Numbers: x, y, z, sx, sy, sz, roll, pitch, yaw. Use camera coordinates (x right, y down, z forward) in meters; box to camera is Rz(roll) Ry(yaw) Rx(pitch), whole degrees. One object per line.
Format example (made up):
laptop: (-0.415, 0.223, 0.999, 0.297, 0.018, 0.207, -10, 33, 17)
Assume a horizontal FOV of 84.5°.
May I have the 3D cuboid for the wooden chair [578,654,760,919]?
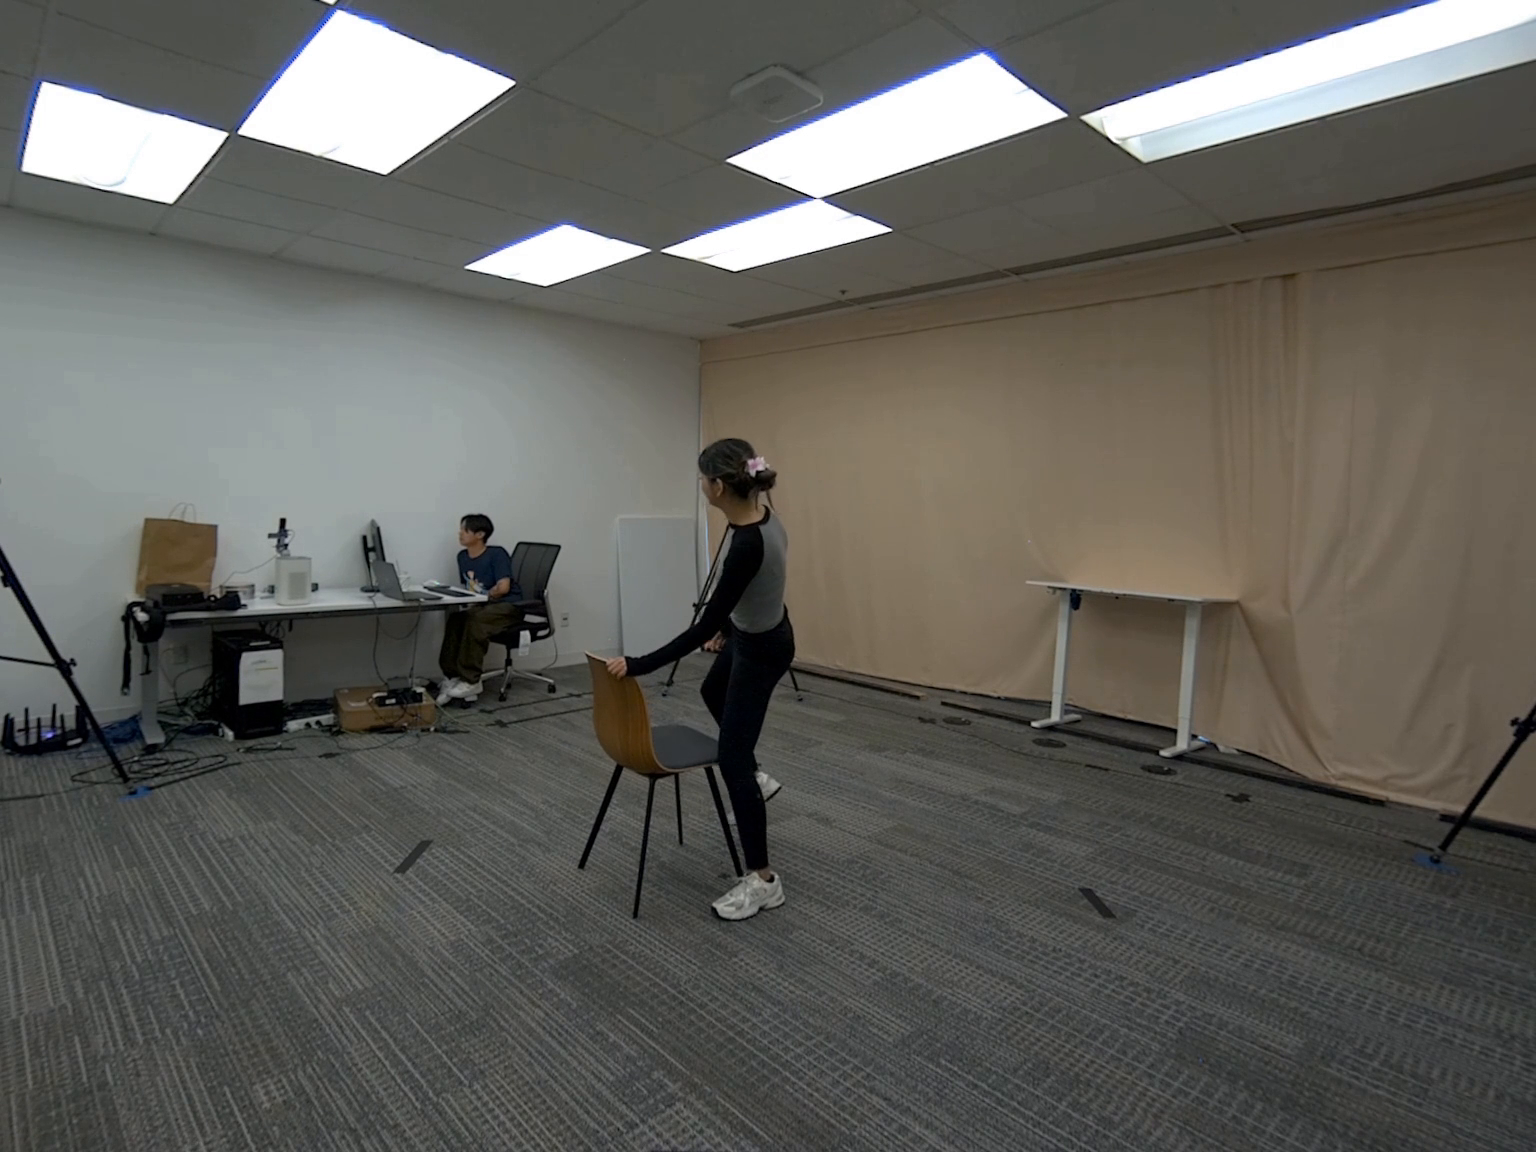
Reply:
wooden chair: (-0.379, 0.679, 3.055, 0.513, 0.873, 0.490, -6, 7, -35)
